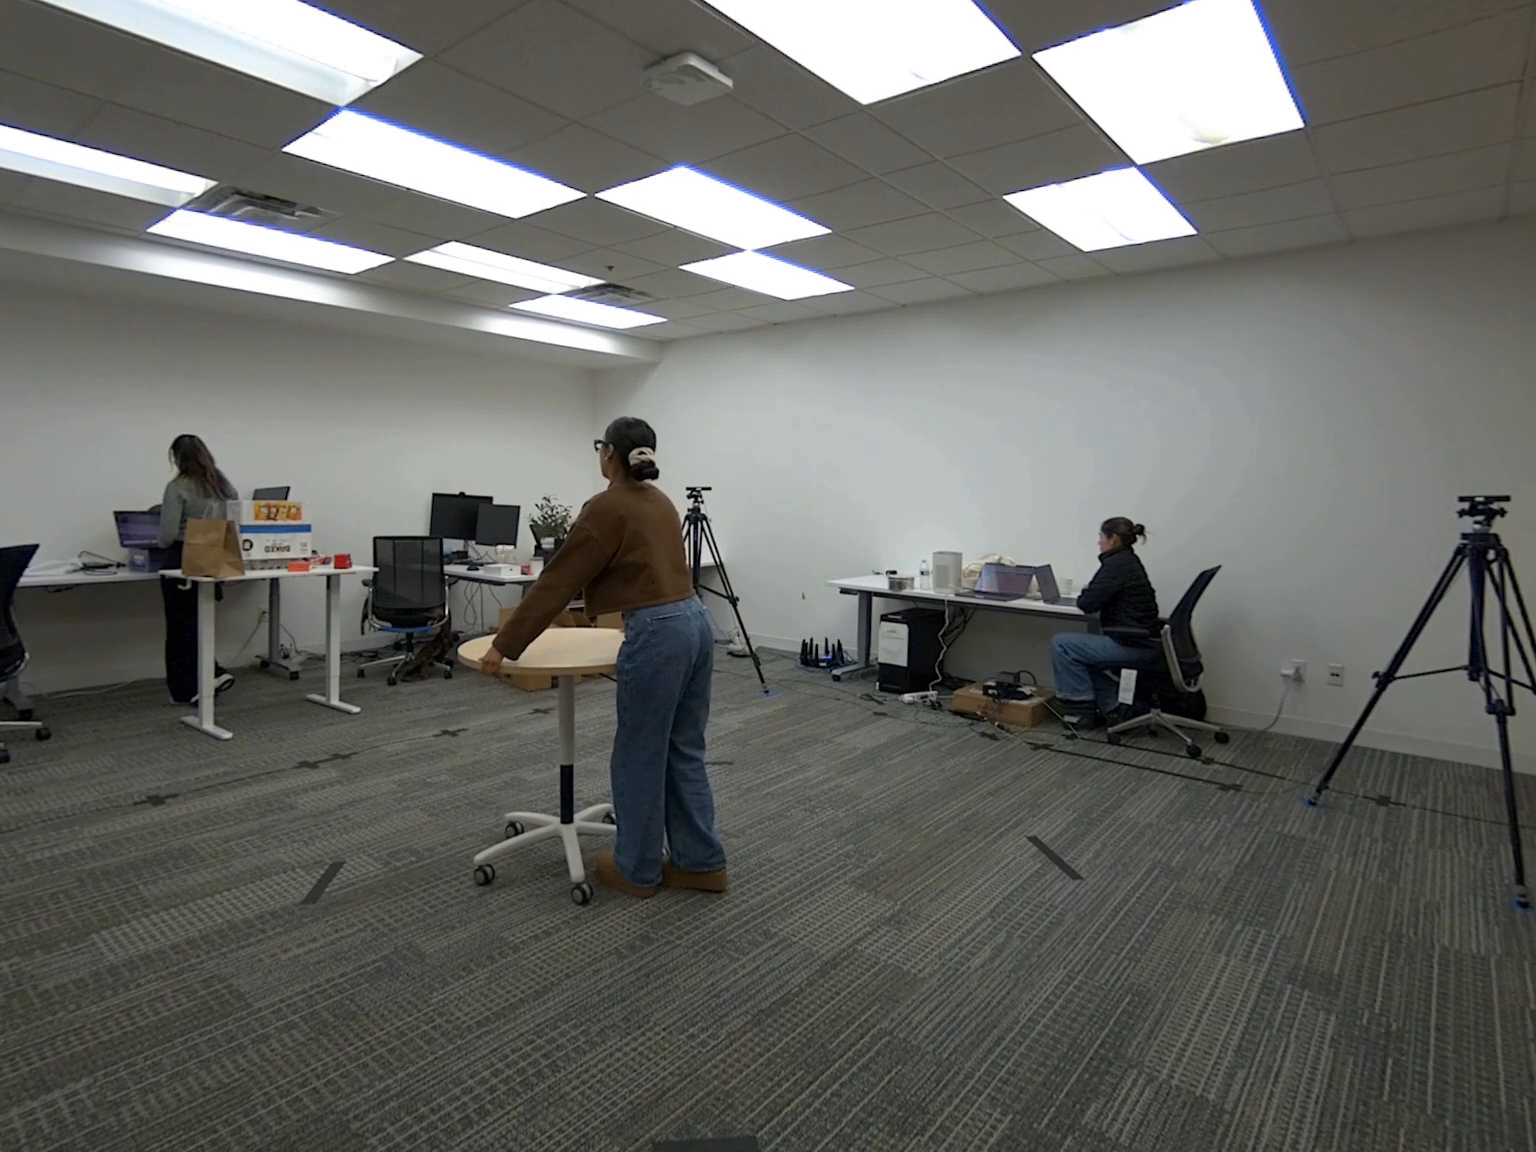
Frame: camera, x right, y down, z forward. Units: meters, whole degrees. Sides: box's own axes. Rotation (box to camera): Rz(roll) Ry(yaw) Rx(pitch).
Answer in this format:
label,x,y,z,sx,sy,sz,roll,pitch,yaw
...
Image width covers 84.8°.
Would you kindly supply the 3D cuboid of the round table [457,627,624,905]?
label,x,y,z,sx,sy,sz,roll,pitch,yaw
round table,-0.770,0.651,3.143,0.784,0.784,0.788,0,4,-2
